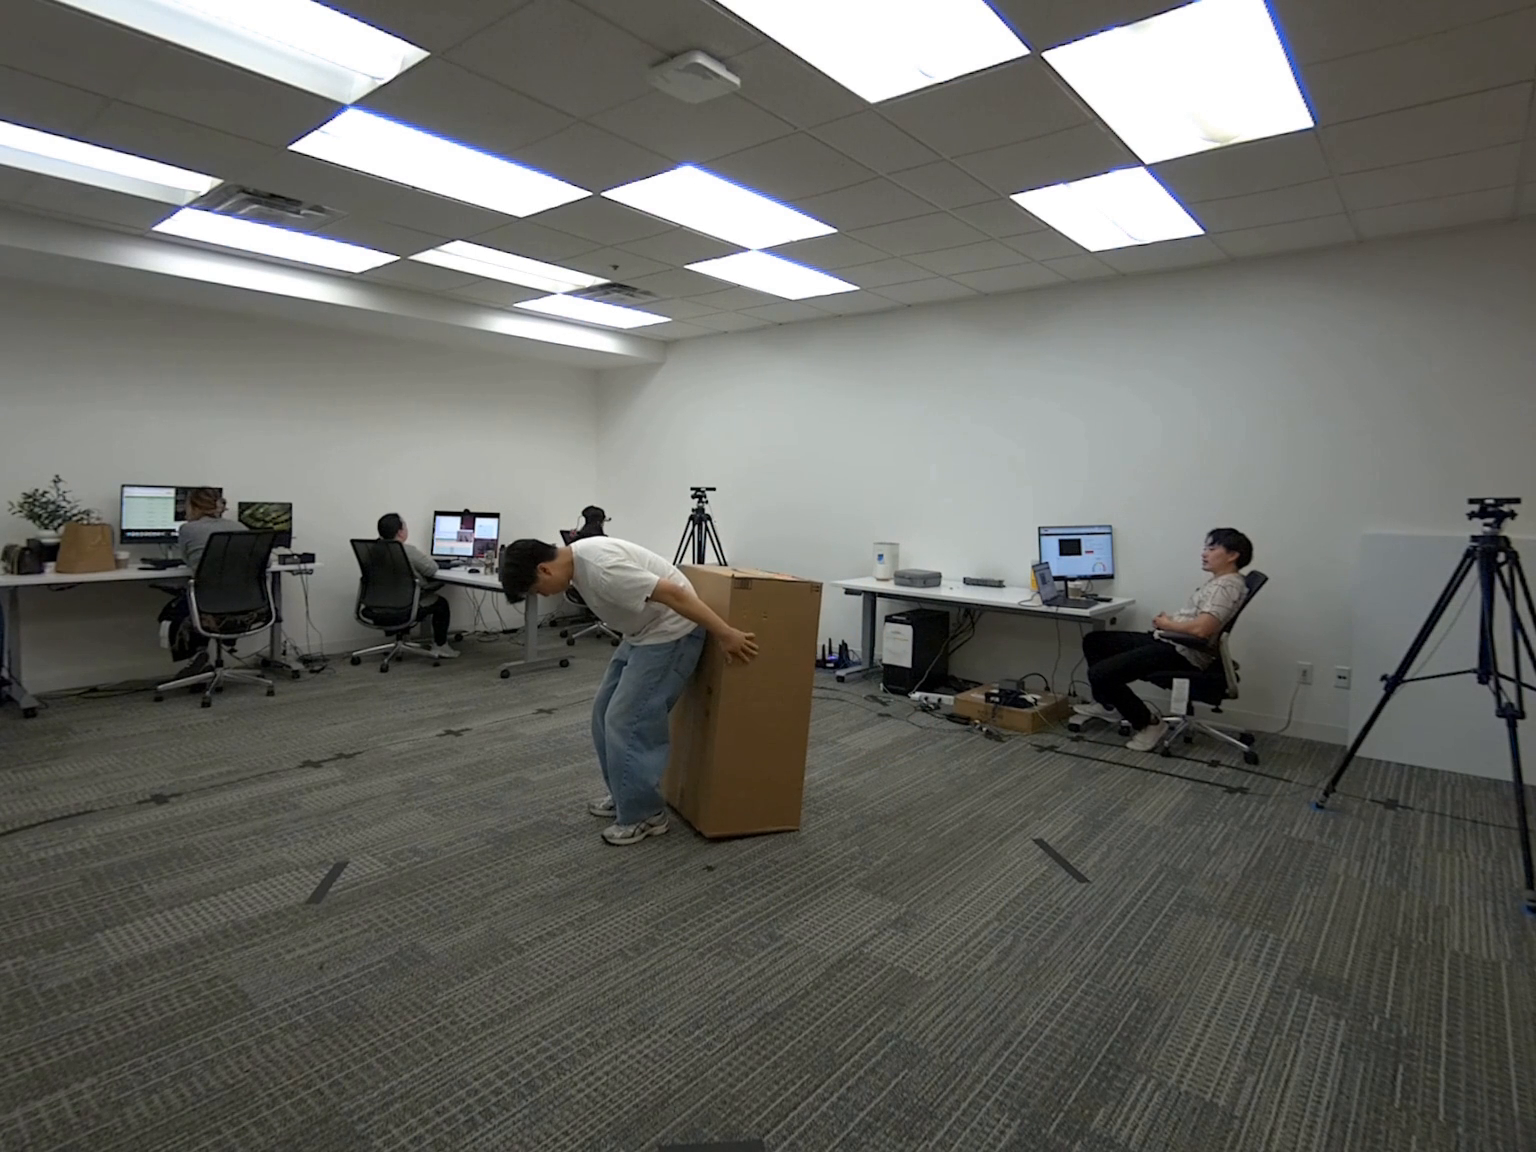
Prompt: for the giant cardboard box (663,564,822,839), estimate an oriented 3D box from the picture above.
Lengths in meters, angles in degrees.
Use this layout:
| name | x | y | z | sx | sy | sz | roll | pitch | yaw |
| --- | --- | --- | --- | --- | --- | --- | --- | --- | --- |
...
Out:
| name | x | y | z | sx | sy | sz | roll | pitch | yaw |
| --- | --- | --- | --- | --- | --- | --- | --- | --- | --- |
| giant cardboard box | -0.151 | 0.494 | 3.643 | 0.415 | 1.025 | 0.594 | 4 | 1 | -28 |
